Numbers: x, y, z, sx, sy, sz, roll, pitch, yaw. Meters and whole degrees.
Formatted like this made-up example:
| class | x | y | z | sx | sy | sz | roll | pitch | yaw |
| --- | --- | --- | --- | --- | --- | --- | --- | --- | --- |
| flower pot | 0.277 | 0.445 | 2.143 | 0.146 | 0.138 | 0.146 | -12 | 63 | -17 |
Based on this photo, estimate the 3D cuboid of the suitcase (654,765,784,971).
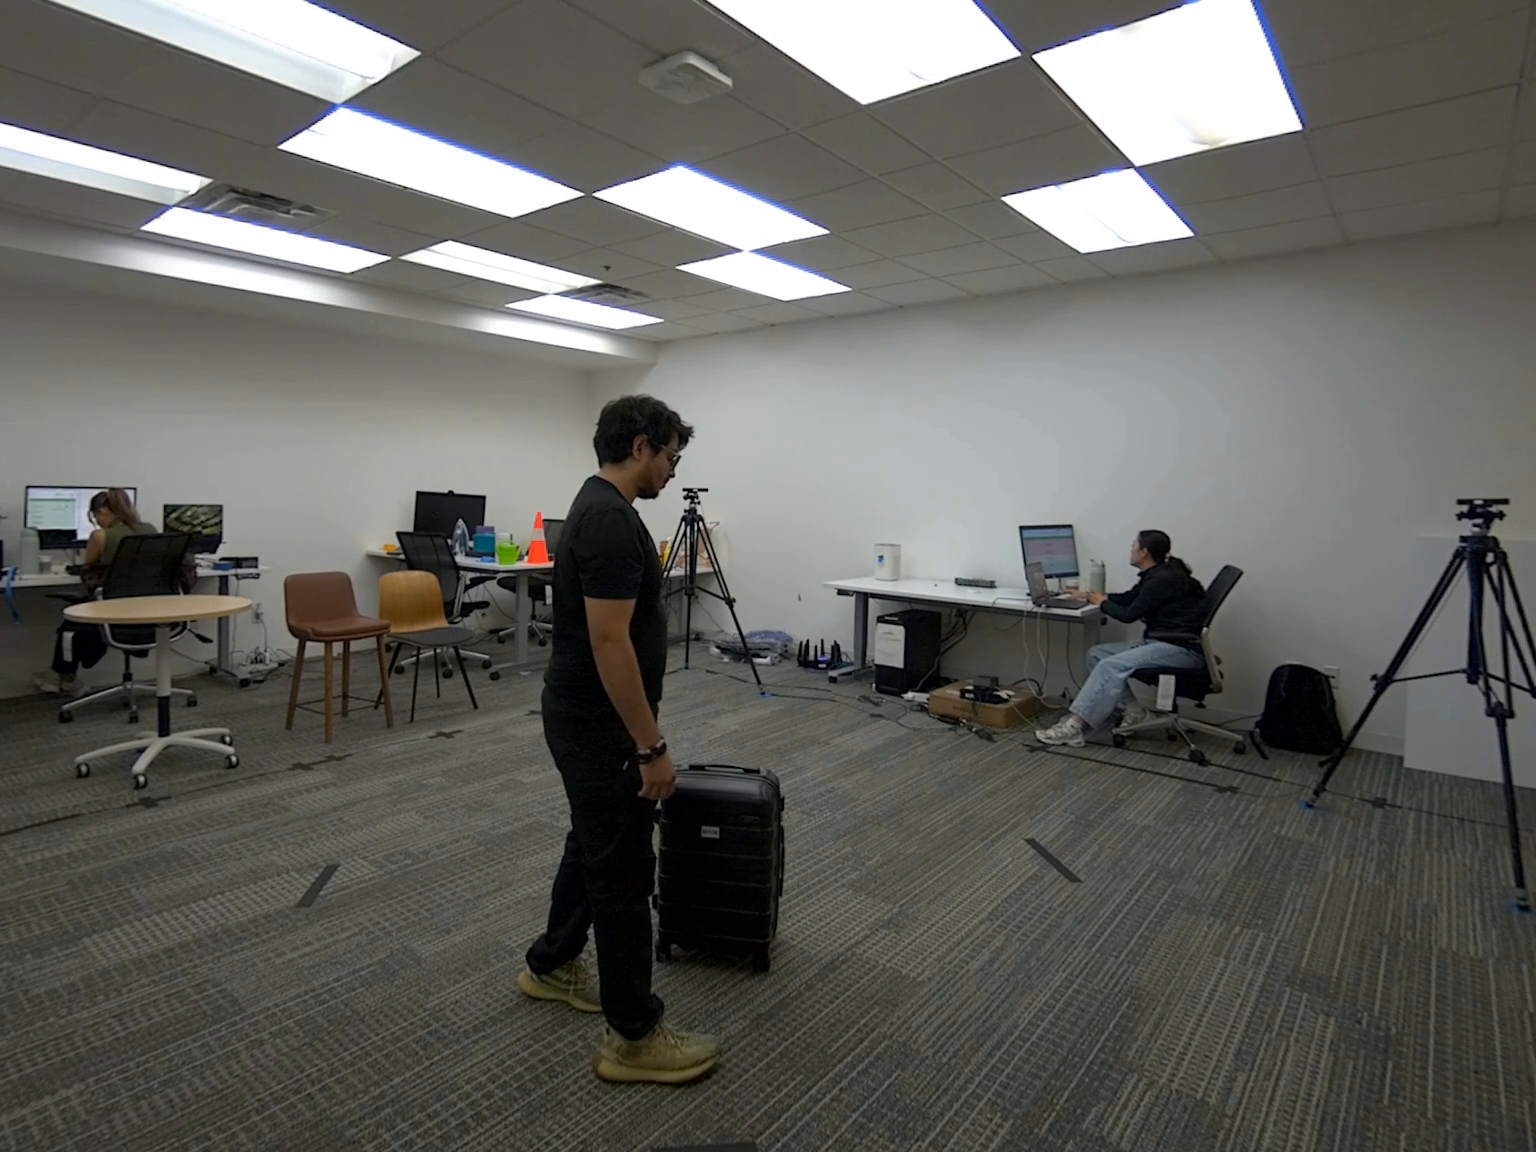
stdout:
| class | x | y | z | sx | sy | sz | roll | pitch | yaw |
| --- | --- | --- | --- | --- | --- | --- | --- | --- | --- |
| suitcase | -0.148 | 0.848 | 2.554 | 0.379 | 0.547 | 0.247 | 2 | 5 | 9 |
